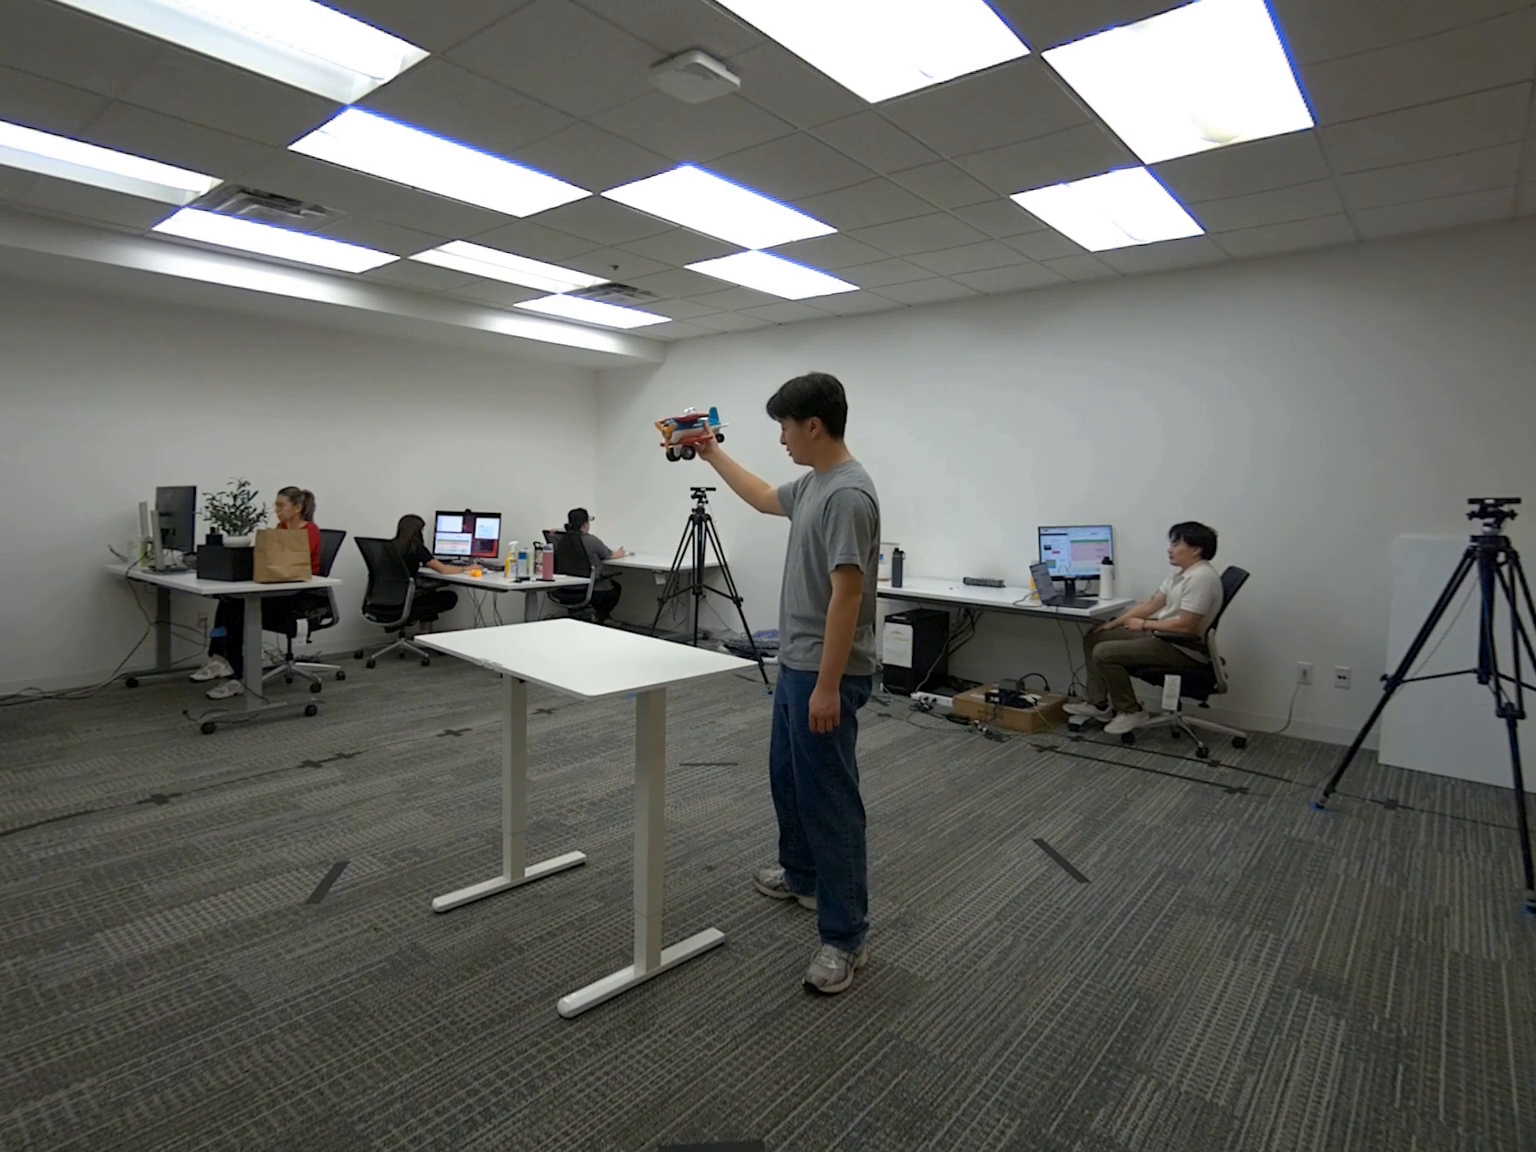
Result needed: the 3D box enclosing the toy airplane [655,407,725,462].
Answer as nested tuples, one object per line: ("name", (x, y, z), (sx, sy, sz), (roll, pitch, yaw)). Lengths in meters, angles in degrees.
("toy airplane", (-0.293, -0.523, 3.059), (0.256, 0.153, 0.260), (-11, 20, 23))
